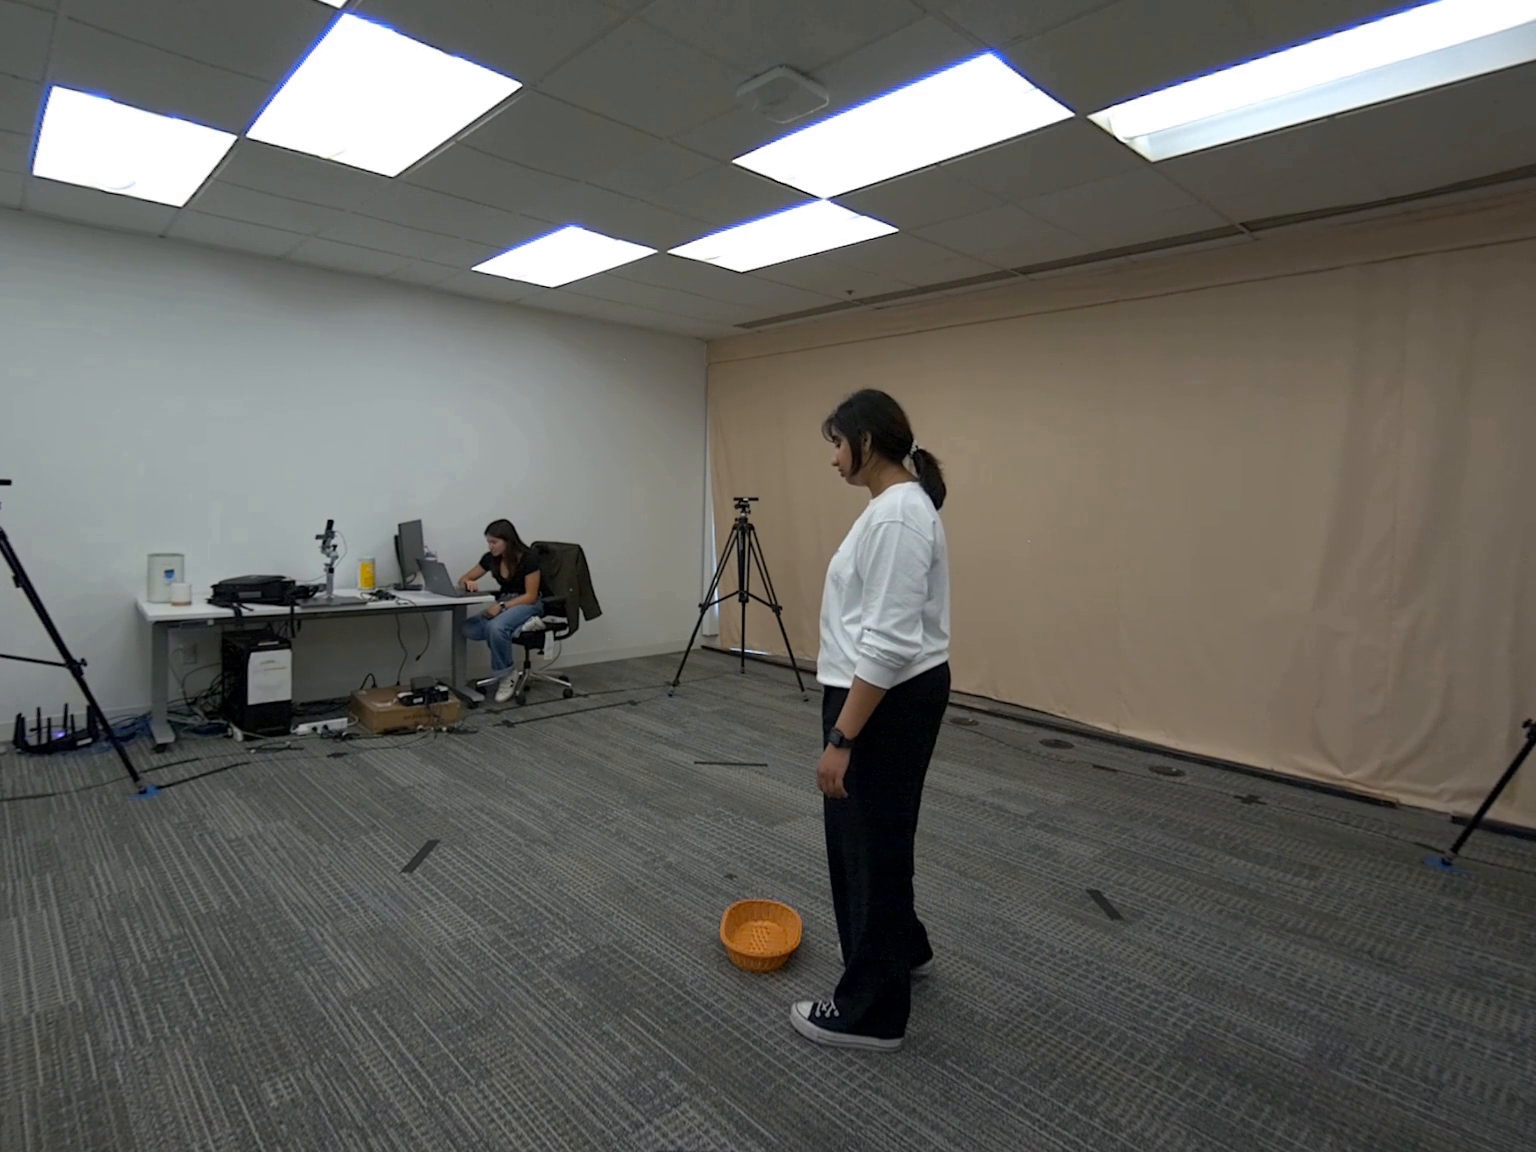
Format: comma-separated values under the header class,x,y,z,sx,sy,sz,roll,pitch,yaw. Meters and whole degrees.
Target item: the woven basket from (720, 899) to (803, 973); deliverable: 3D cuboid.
class,x,y,z,sx,sy,sz,roll,pitch,yaw
woven basket,-0.024,1.117,2.614,0.254,0.073,0.349,3,5,7
